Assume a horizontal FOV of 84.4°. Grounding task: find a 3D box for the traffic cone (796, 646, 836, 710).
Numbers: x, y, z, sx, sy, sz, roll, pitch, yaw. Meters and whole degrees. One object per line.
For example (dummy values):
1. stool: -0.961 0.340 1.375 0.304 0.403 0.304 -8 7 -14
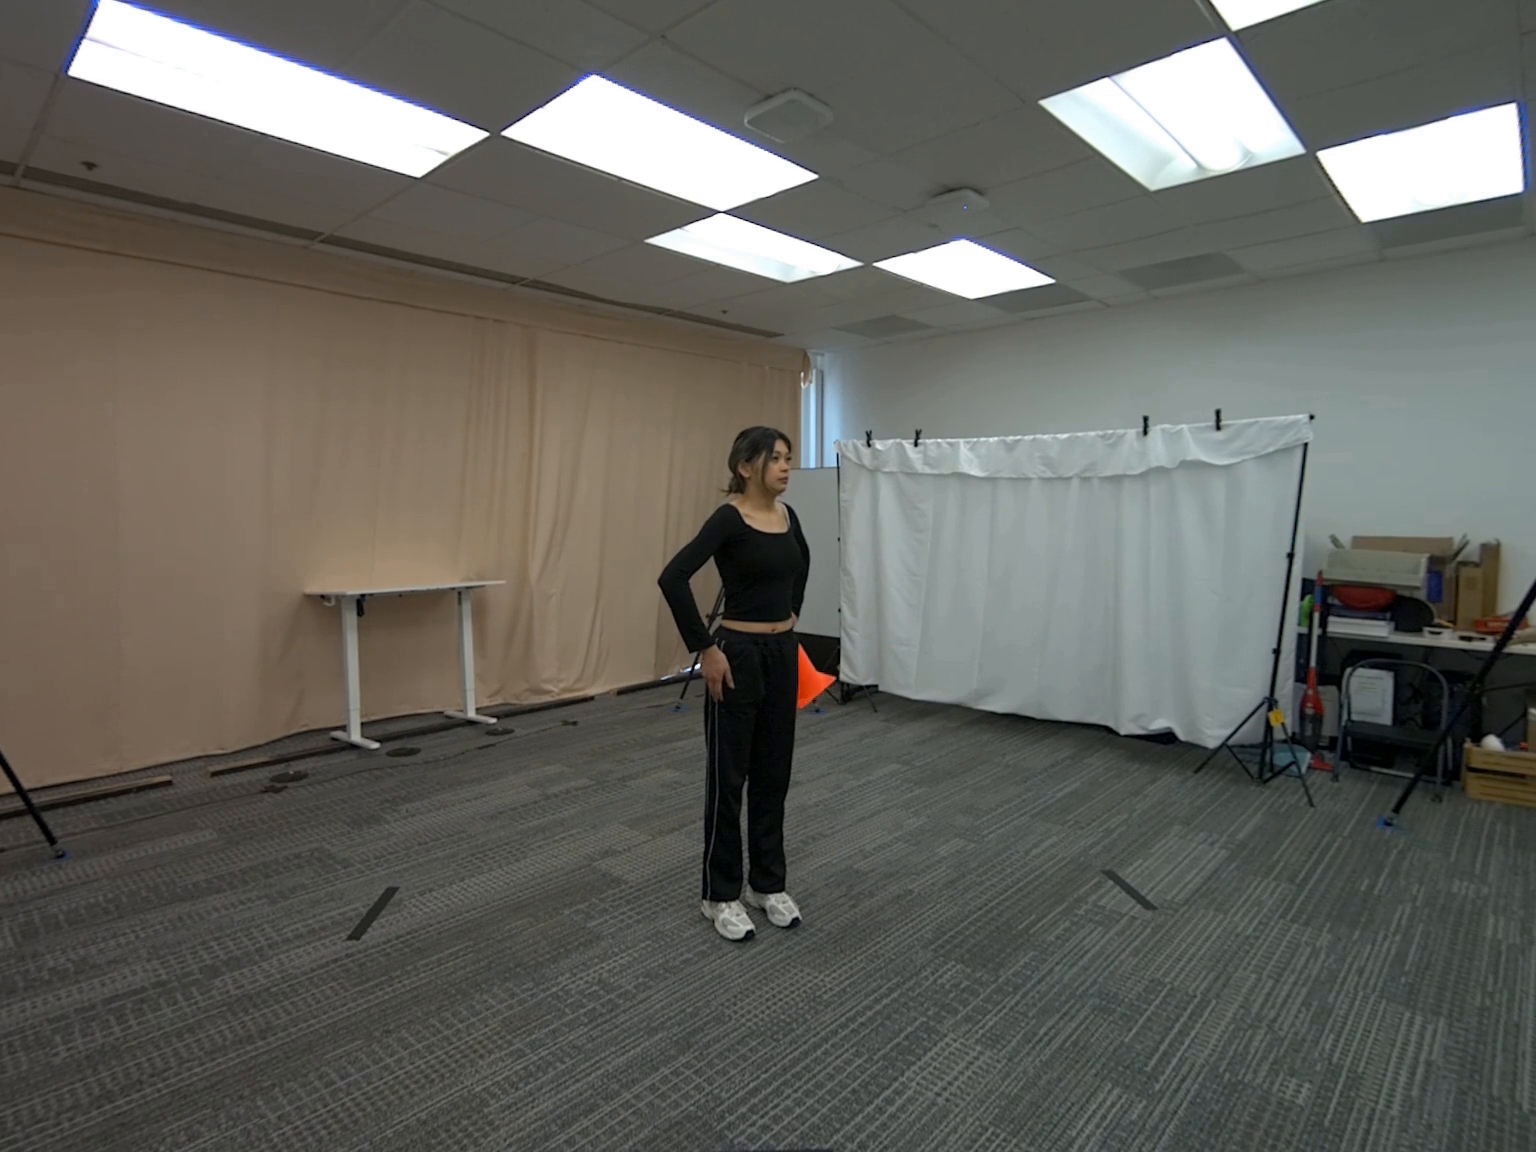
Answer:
1. traffic cone: 0.054 0.254 3.028 0.202 0.377 0.210 -35 23 -31
